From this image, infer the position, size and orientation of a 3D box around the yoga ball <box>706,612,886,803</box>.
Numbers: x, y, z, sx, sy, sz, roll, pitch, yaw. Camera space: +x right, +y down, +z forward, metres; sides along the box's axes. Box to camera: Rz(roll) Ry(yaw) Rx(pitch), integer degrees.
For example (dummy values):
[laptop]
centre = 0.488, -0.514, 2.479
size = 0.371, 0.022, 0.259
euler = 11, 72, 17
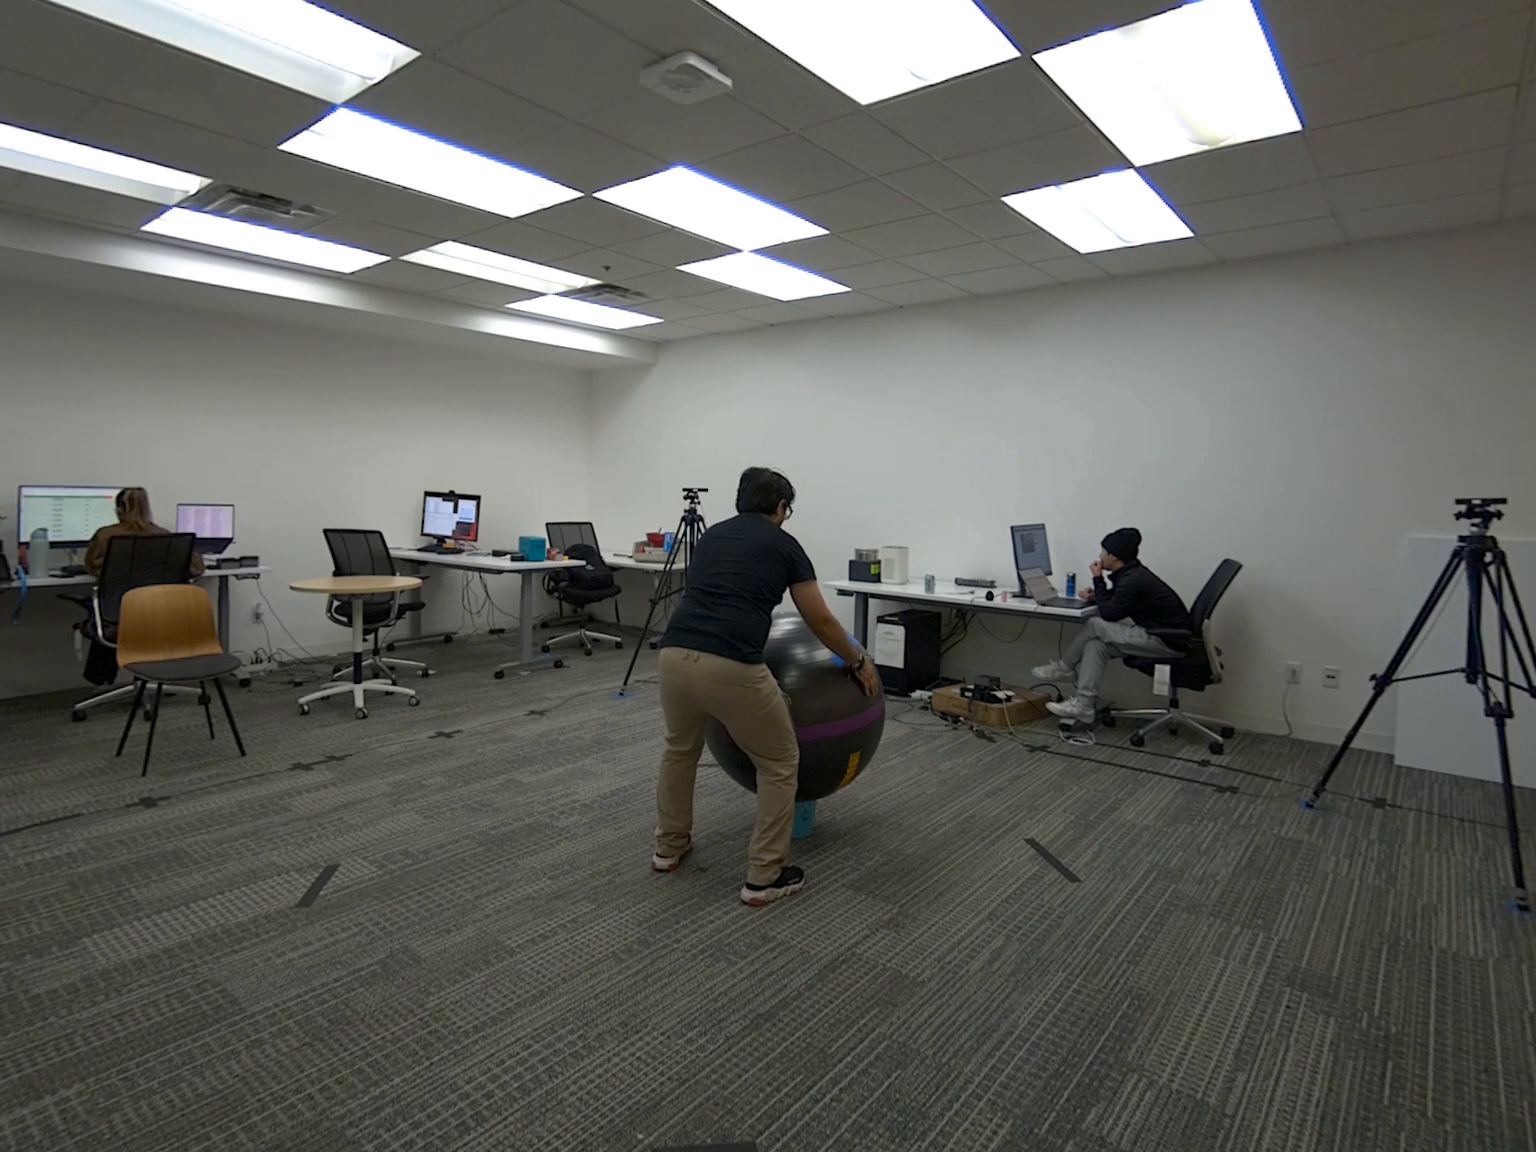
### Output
[yoga ball]
centre = 0.088, 0.524, 3.473
size = 0.757, 0.755, 0.762
euler = 1, 4, -2
